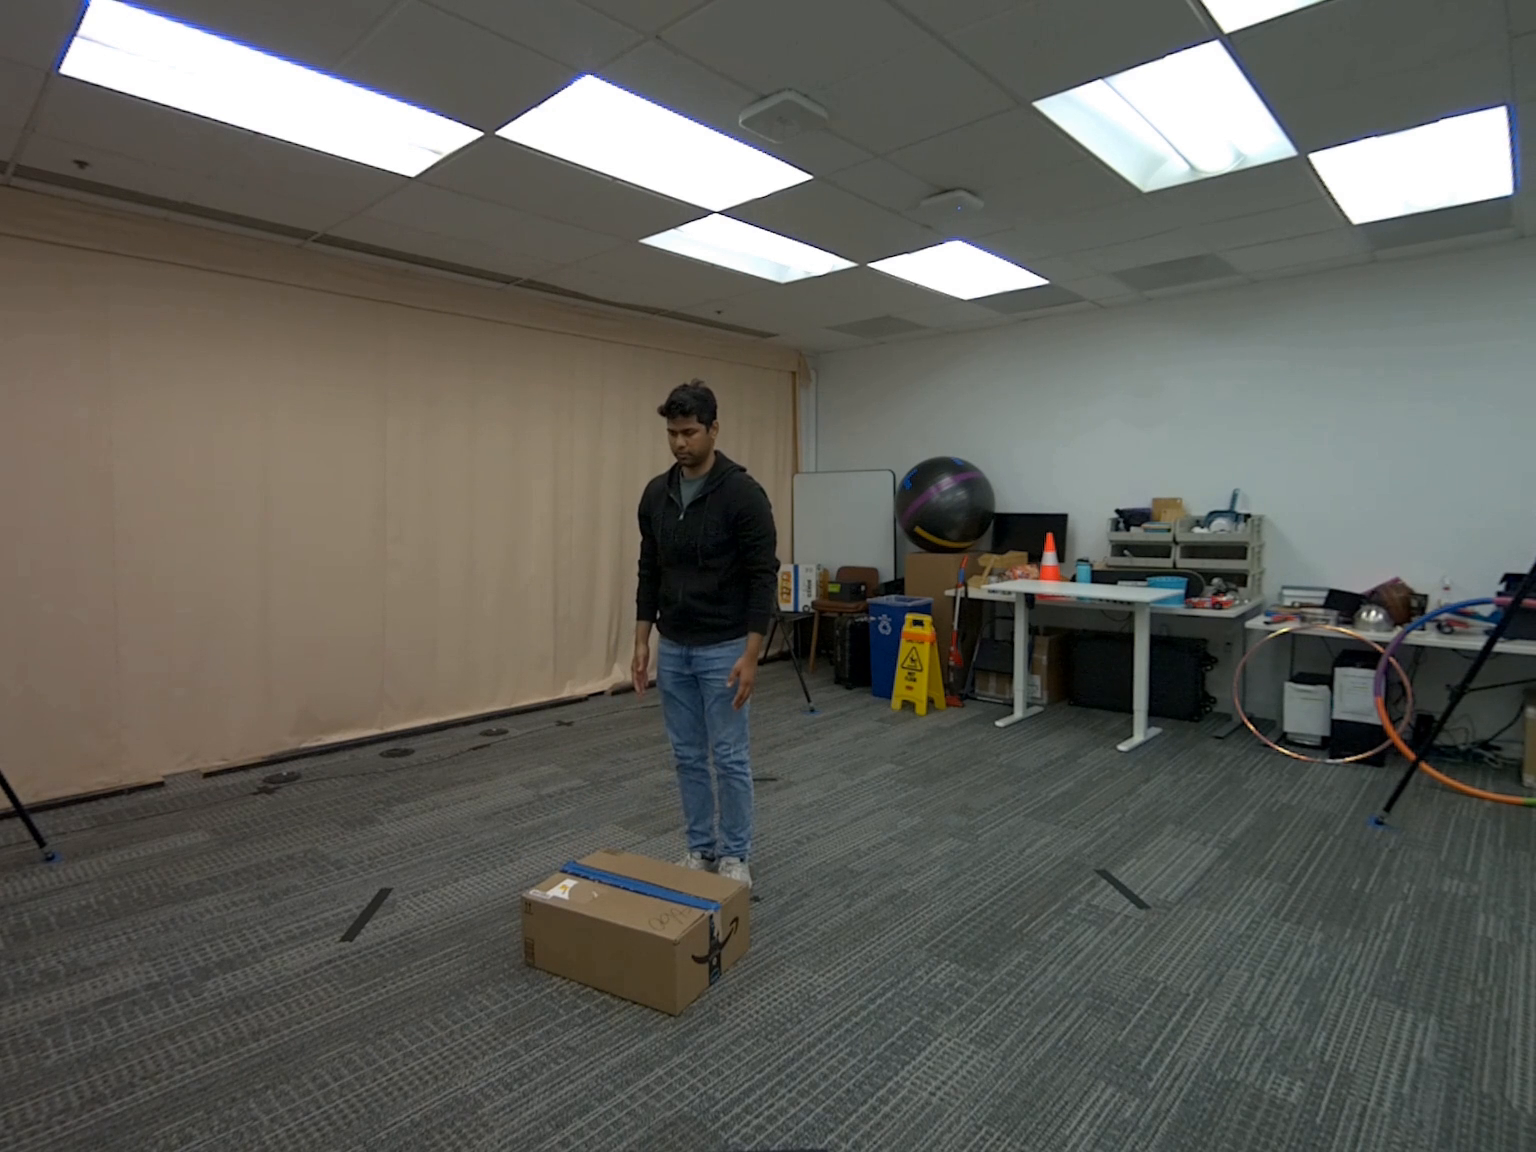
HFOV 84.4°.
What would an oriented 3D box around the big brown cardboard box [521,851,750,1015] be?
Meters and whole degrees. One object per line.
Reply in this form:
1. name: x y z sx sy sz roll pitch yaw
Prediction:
1. big brown cardboard box: -0.410 1.067 2.603 0.605 0.232 0.407 3 5 28
